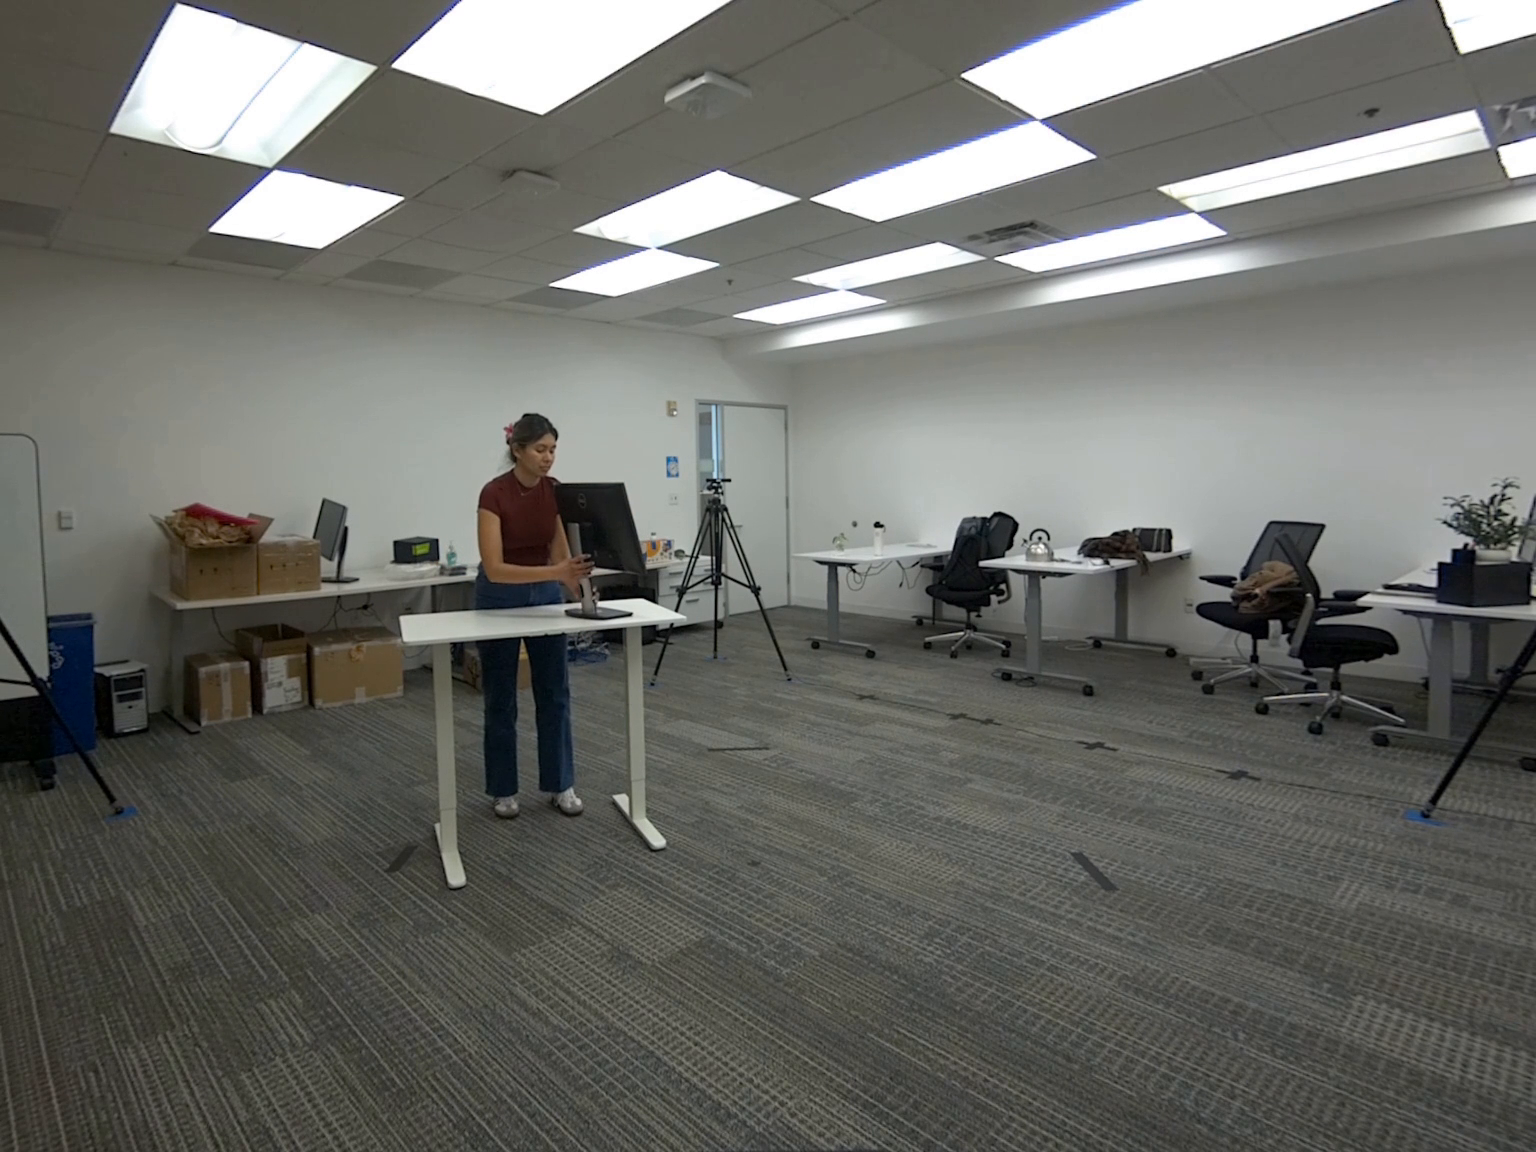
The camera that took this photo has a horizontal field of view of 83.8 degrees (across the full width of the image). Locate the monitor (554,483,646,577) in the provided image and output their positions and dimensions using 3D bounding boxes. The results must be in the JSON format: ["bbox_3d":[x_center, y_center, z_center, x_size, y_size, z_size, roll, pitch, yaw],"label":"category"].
[{"bbox_3d":[-0.681,-0.098,3.300,0.182,0.519,0.556,-8,9,-41],"label":"monitor"}]
